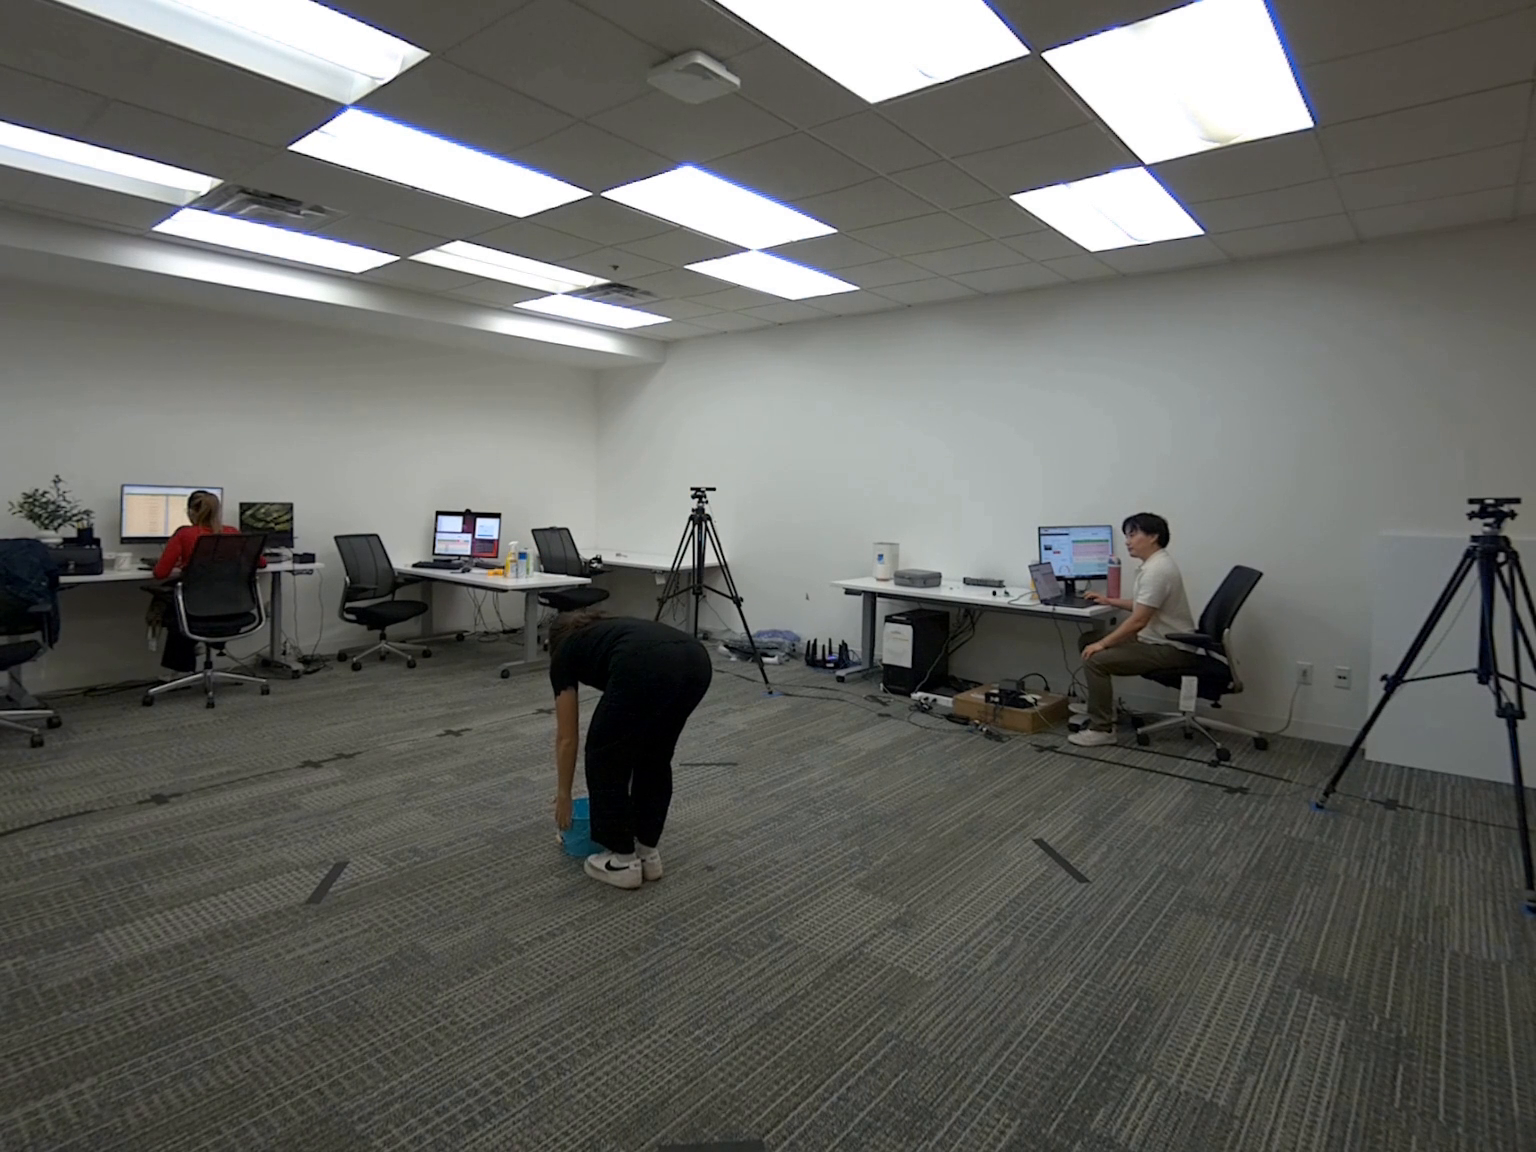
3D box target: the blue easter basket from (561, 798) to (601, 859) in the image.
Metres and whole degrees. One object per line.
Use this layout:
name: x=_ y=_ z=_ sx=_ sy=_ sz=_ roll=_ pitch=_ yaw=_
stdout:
blue easter basket: x=-0.709 y=0.962 z=3.277 sx=0.243 sy=0.155 sz=0.245 roll=1 pitch=5 yaw=-2
